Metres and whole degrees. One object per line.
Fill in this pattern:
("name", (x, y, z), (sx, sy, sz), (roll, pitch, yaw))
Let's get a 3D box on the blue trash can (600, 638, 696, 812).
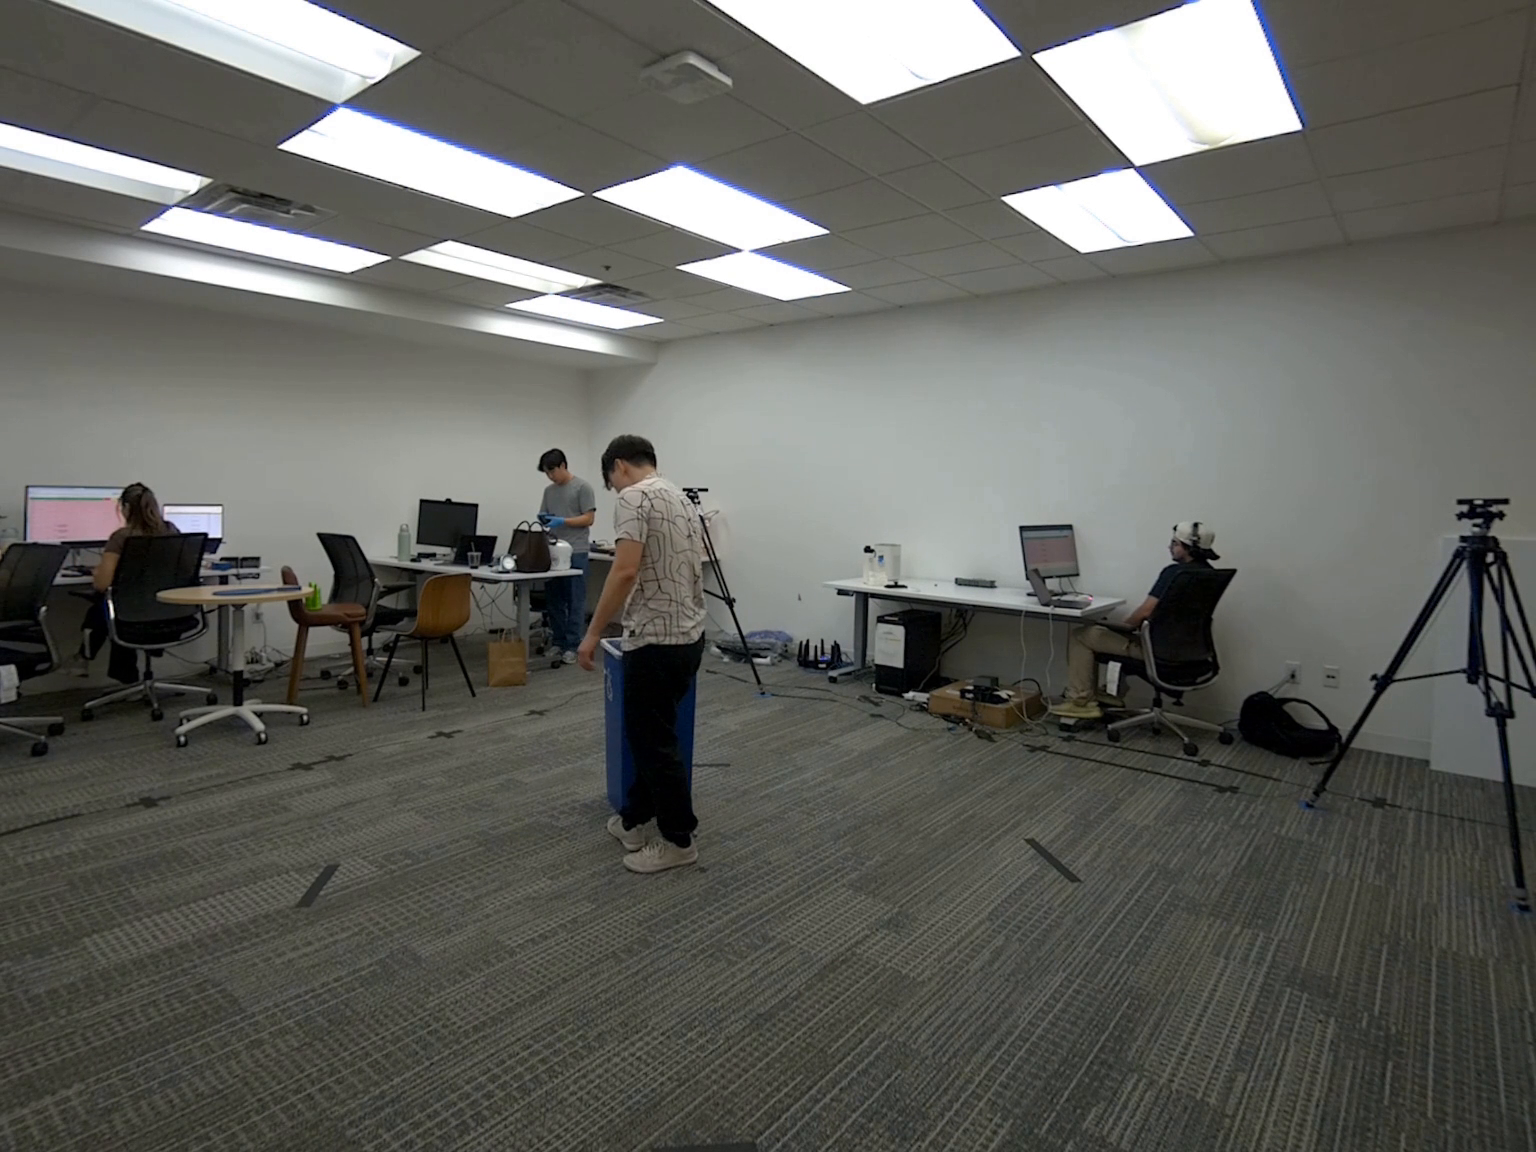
("blue trash can", (-0.526, 0.645, 3.715), (0.370, 0.711, 0.383), (-1, 4, -23))
